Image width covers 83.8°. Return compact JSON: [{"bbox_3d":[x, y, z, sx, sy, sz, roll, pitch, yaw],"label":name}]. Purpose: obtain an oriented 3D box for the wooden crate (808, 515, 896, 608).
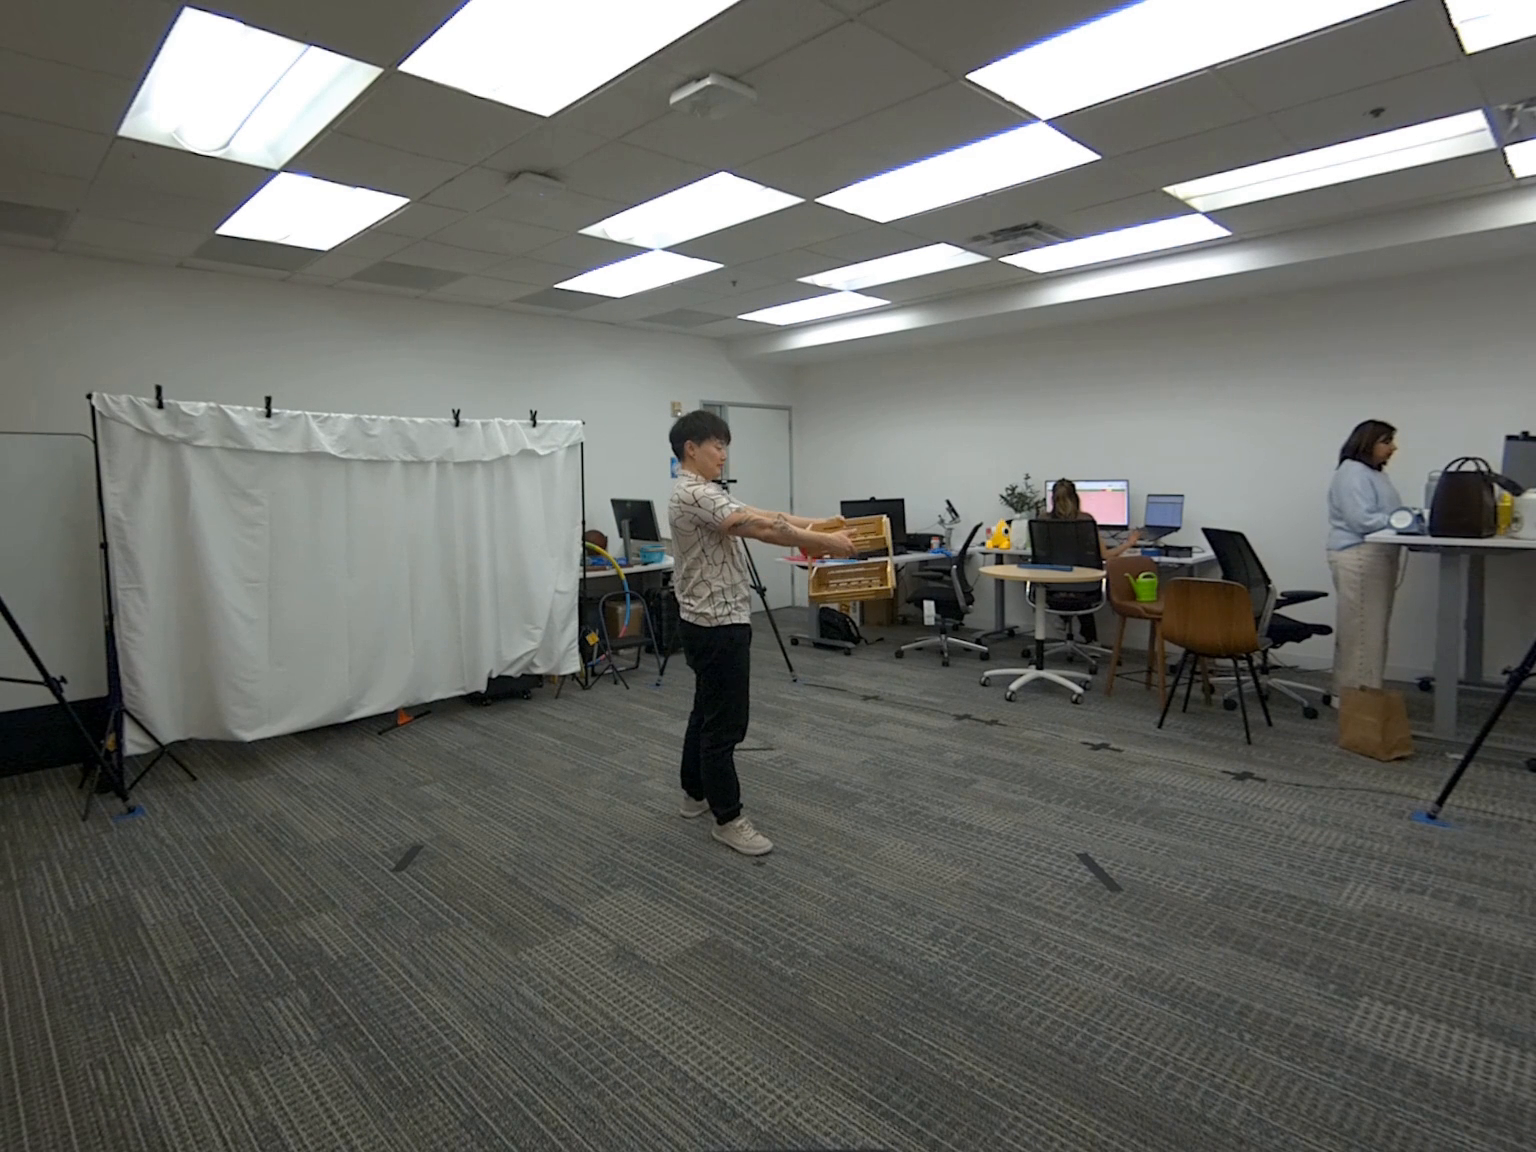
[{"bbox_3d":[0.310,-0.060,3.260,0.328,0.270,0.302,-7,11,13],"label":"wooden crate"}]
